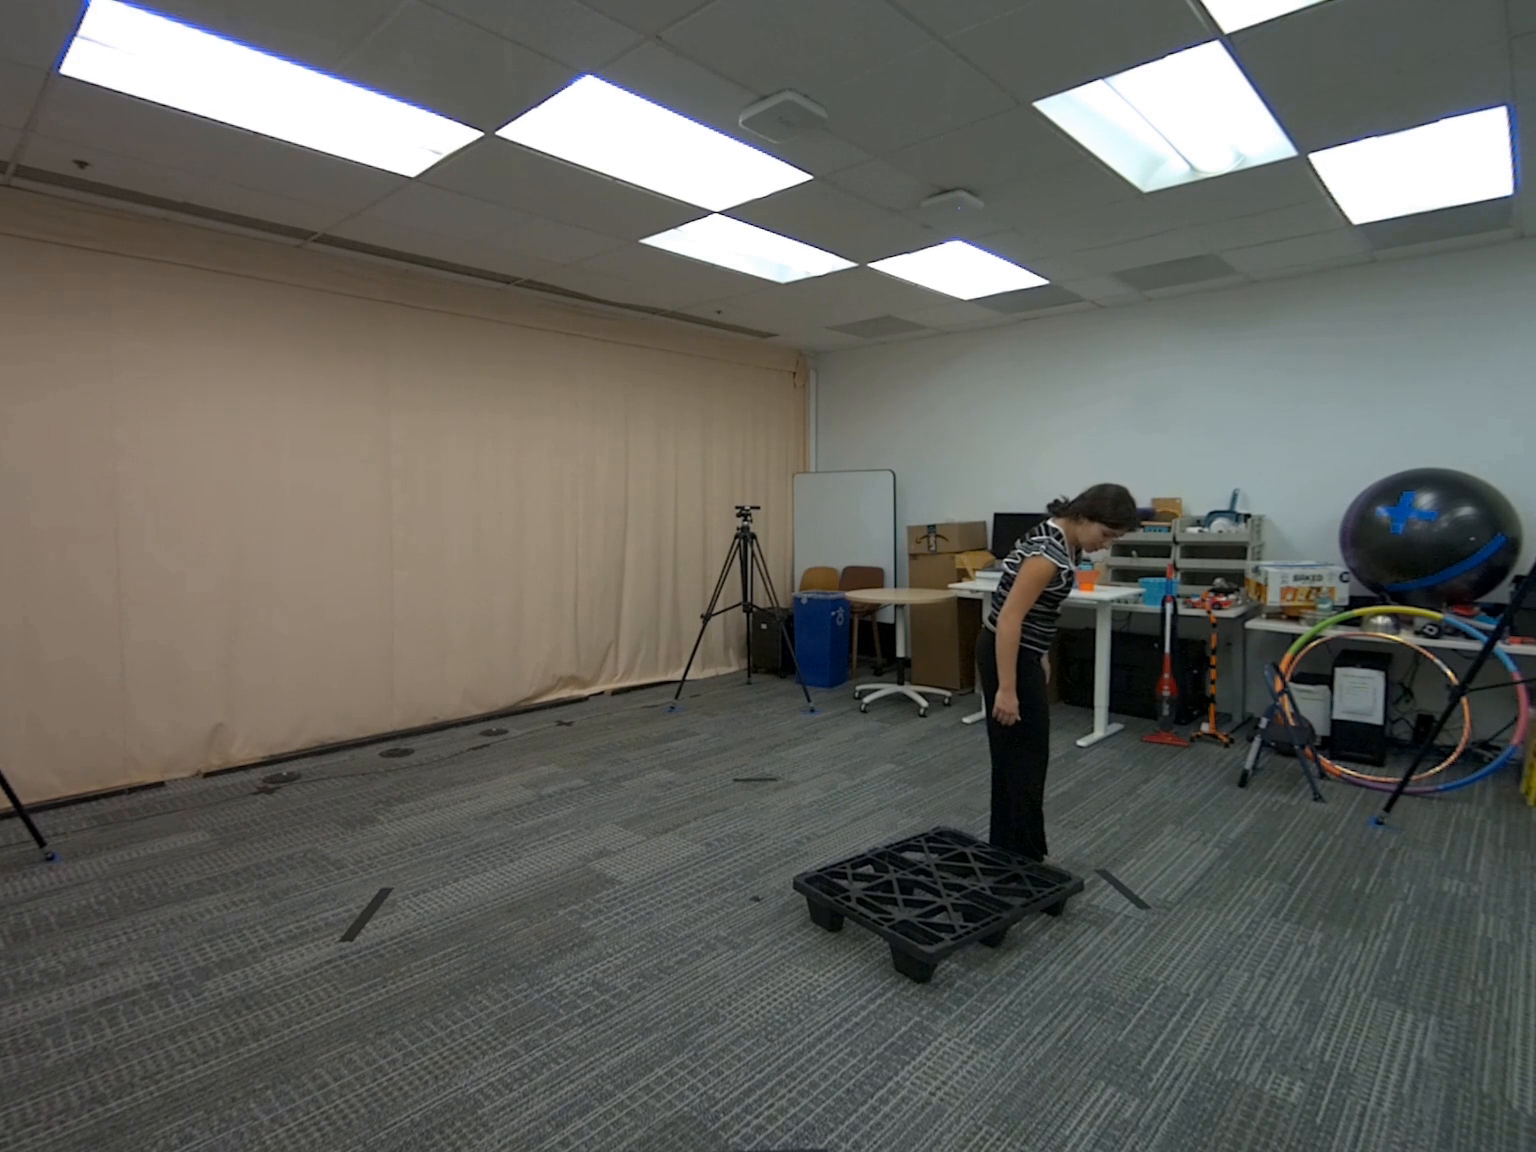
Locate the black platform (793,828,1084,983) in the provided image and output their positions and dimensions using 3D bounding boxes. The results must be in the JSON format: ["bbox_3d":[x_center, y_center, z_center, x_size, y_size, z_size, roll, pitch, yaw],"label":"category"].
[{"bbox_3d":[0.583,1.087,2.840,0.782,0.143,0.625,-4,7,-37],"label":"black platform"}]
